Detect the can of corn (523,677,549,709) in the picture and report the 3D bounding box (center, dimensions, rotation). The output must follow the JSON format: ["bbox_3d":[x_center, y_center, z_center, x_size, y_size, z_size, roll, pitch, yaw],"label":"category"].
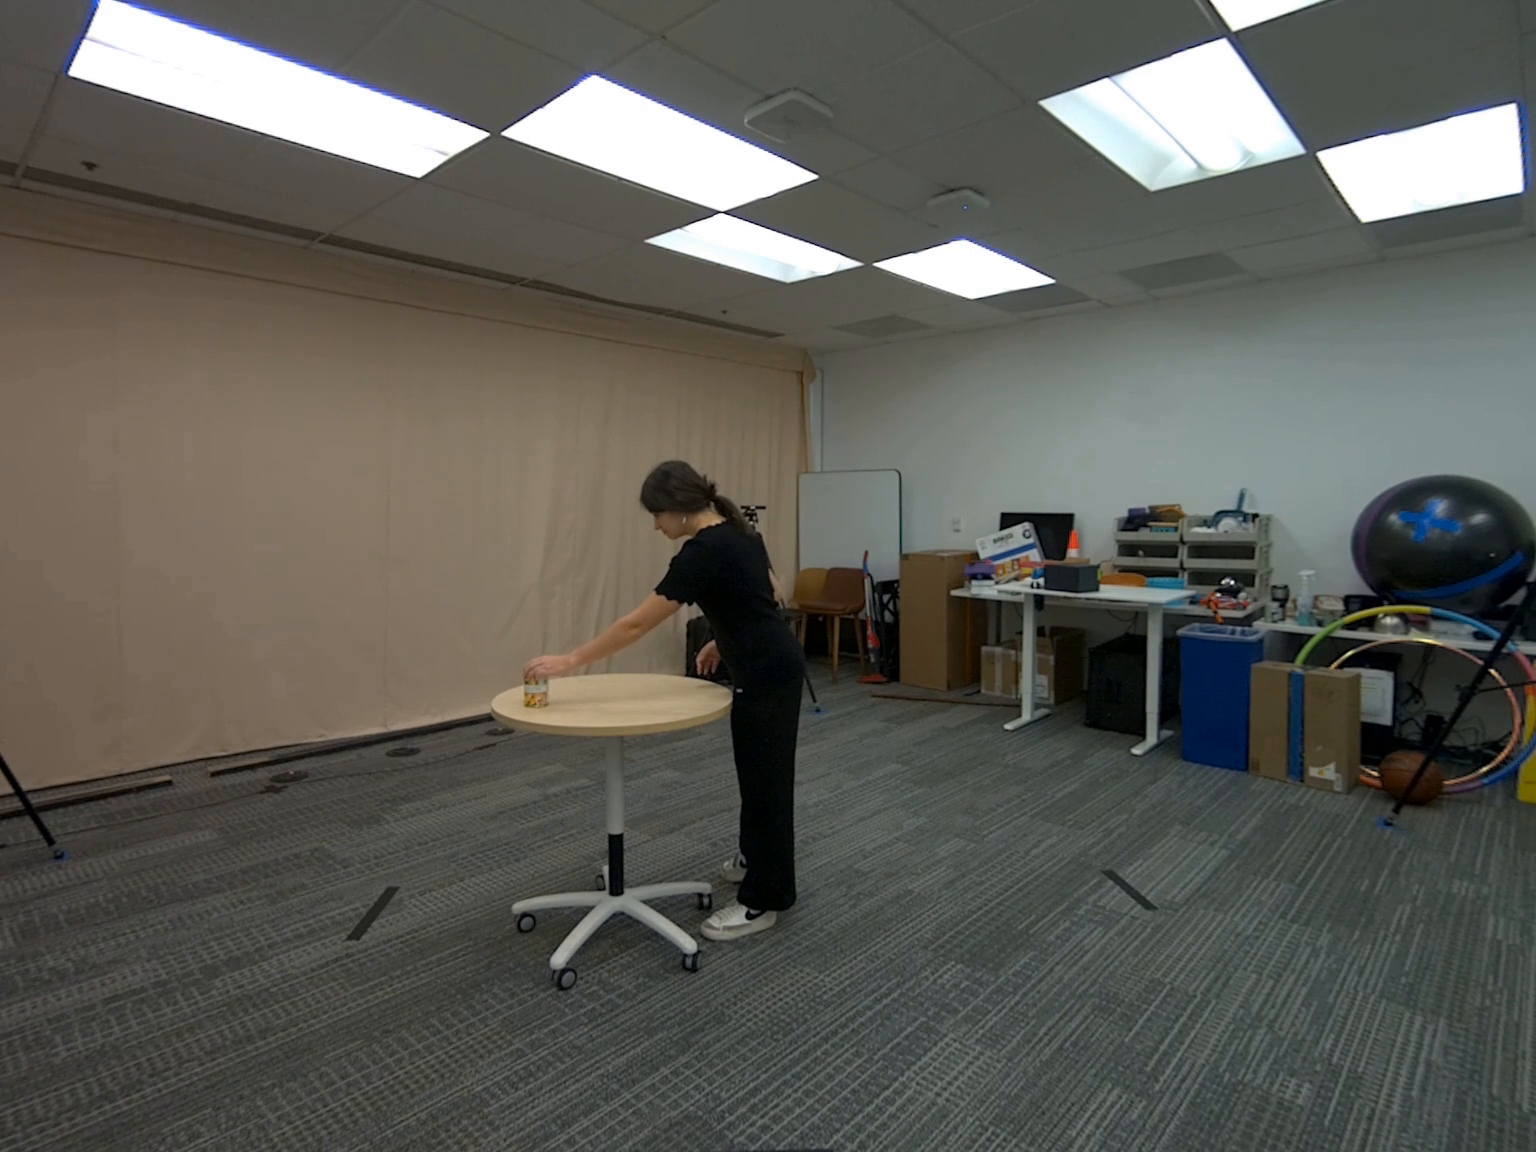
[{"bbox_3d":[-0.710,0.341,2.582,0.074,0.111,0.074,0,0,-2],"label":"can of corn"}]
